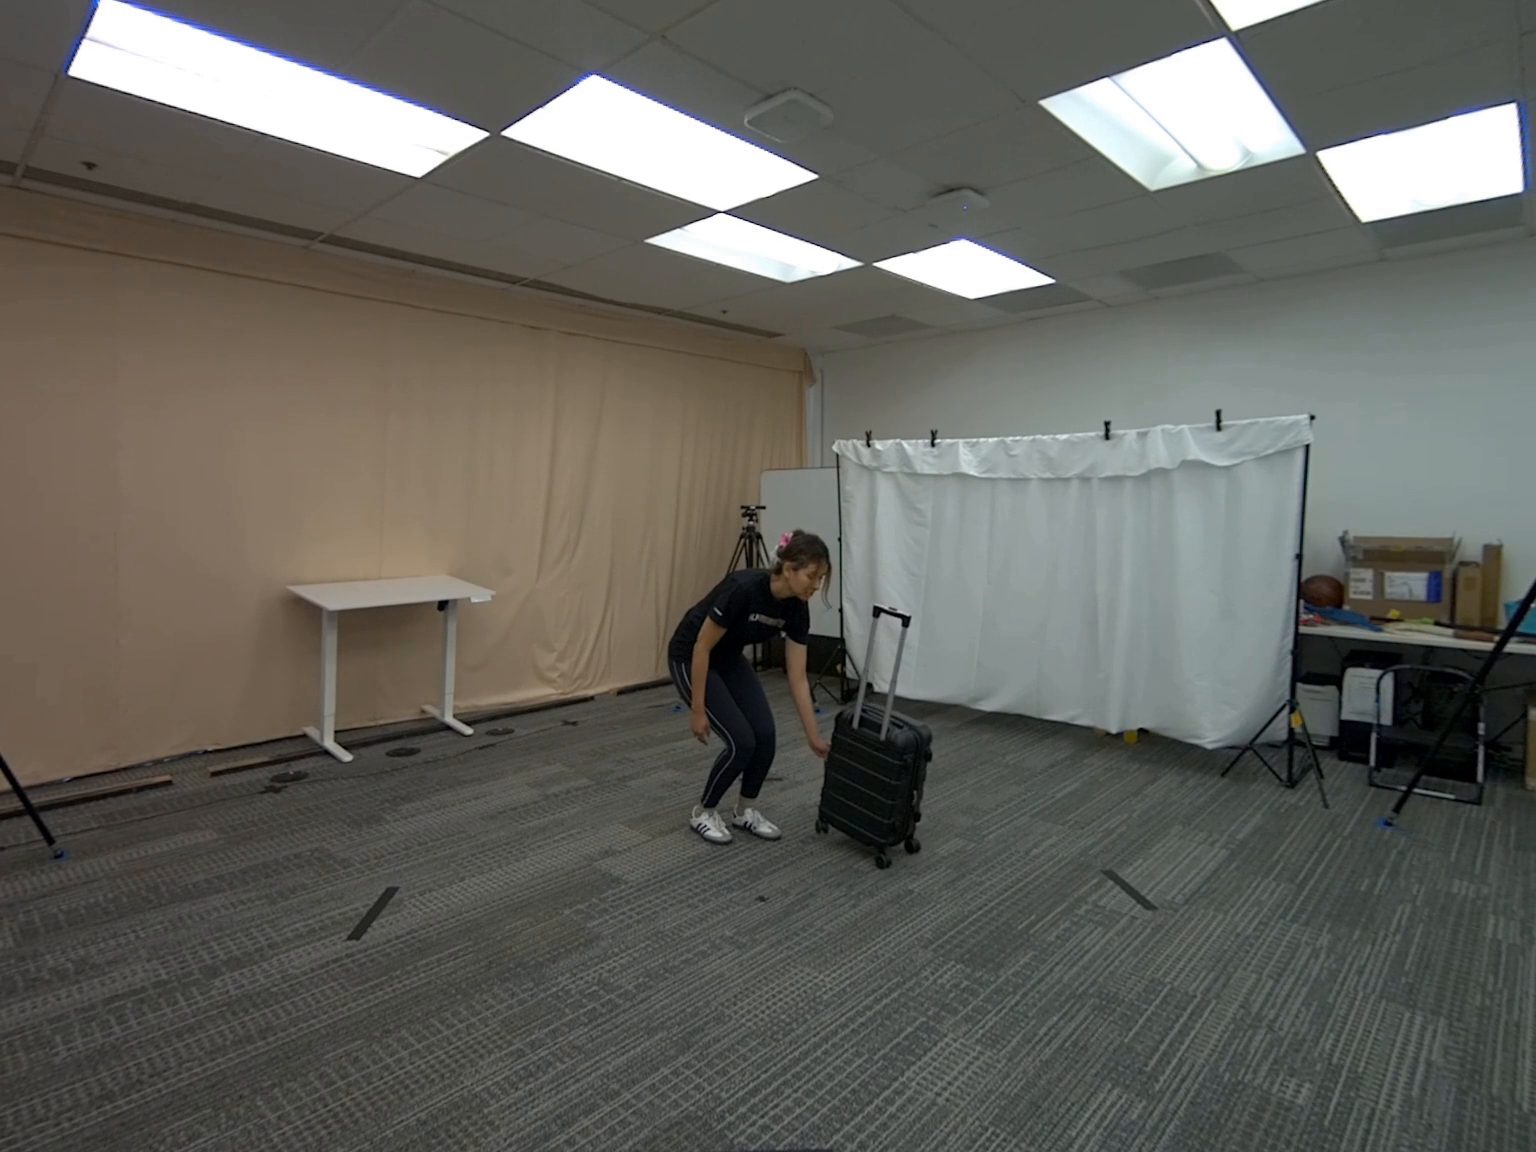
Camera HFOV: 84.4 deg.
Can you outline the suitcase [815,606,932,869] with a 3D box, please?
[{"bbox_3d":[0.470,0.612,3.355,0.398,0.975,0.249,17,11,41],"label":"suitcase"}]
